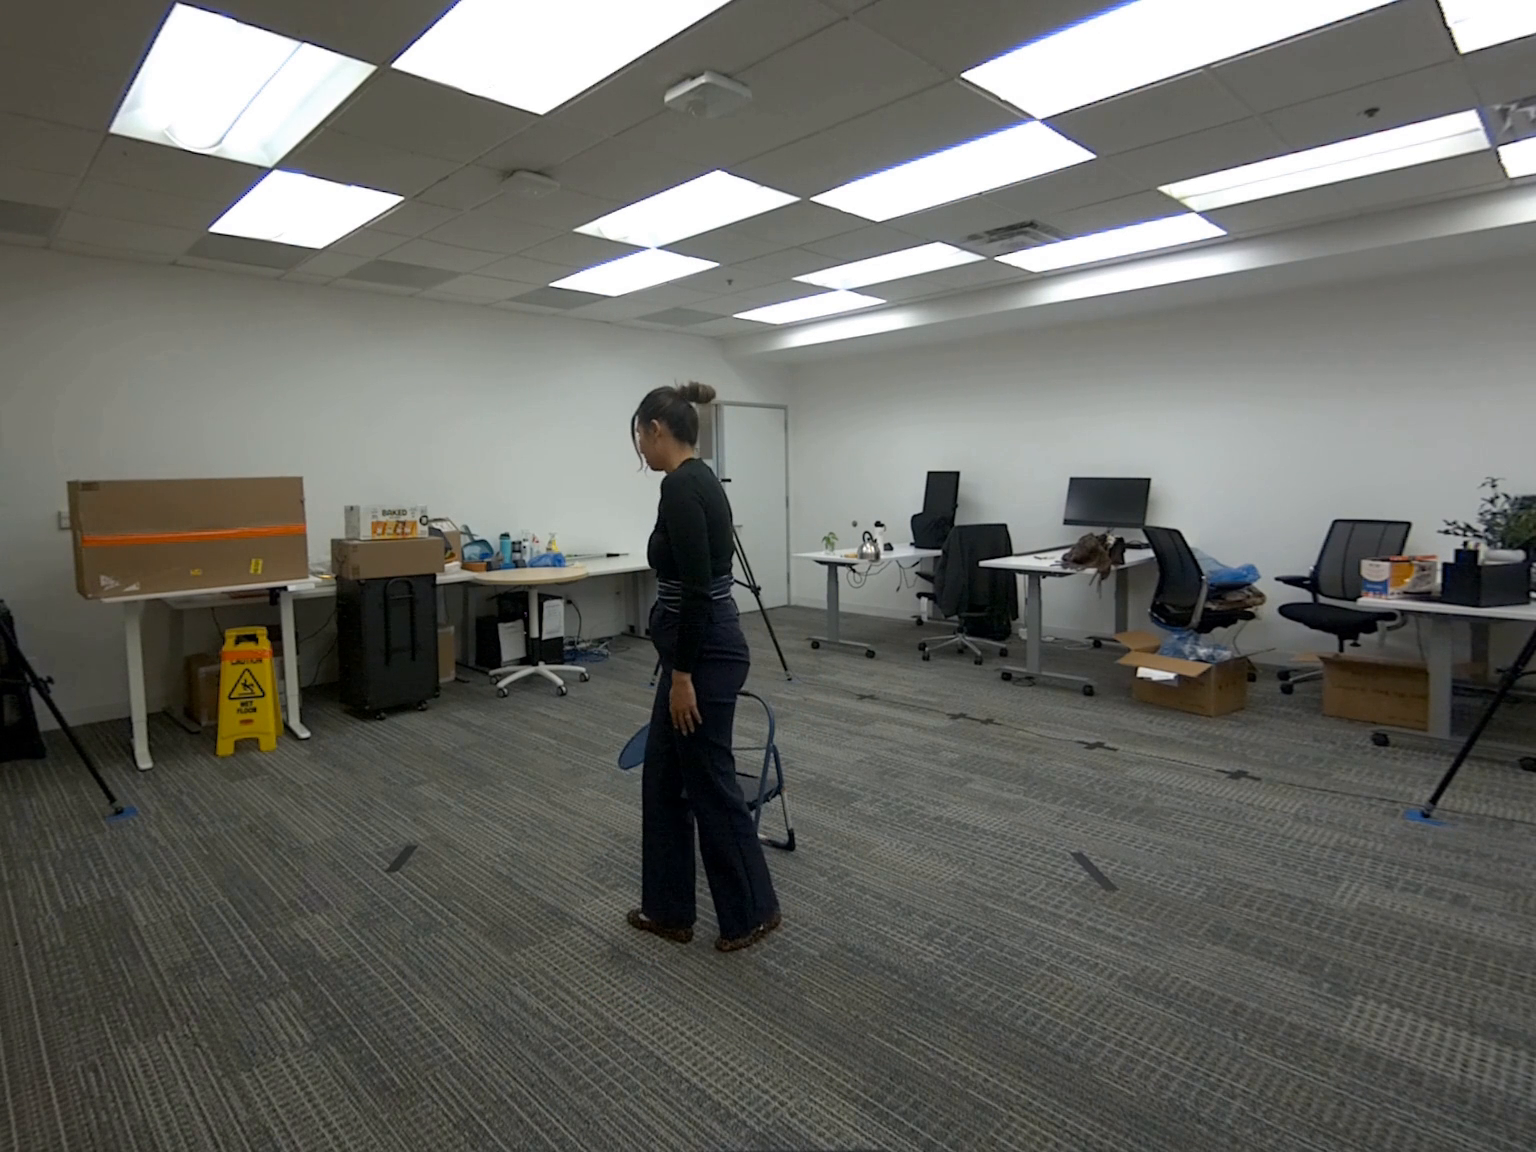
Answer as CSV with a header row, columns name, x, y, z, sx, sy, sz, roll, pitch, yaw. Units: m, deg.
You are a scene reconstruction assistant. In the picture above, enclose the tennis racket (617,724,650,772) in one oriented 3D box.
name,x,y,z,sx,sy,sz,roll,pitch,yaw
tennis racket,-0.363,0.507,2.871,0.033,0.431,0.208,46,23,26
